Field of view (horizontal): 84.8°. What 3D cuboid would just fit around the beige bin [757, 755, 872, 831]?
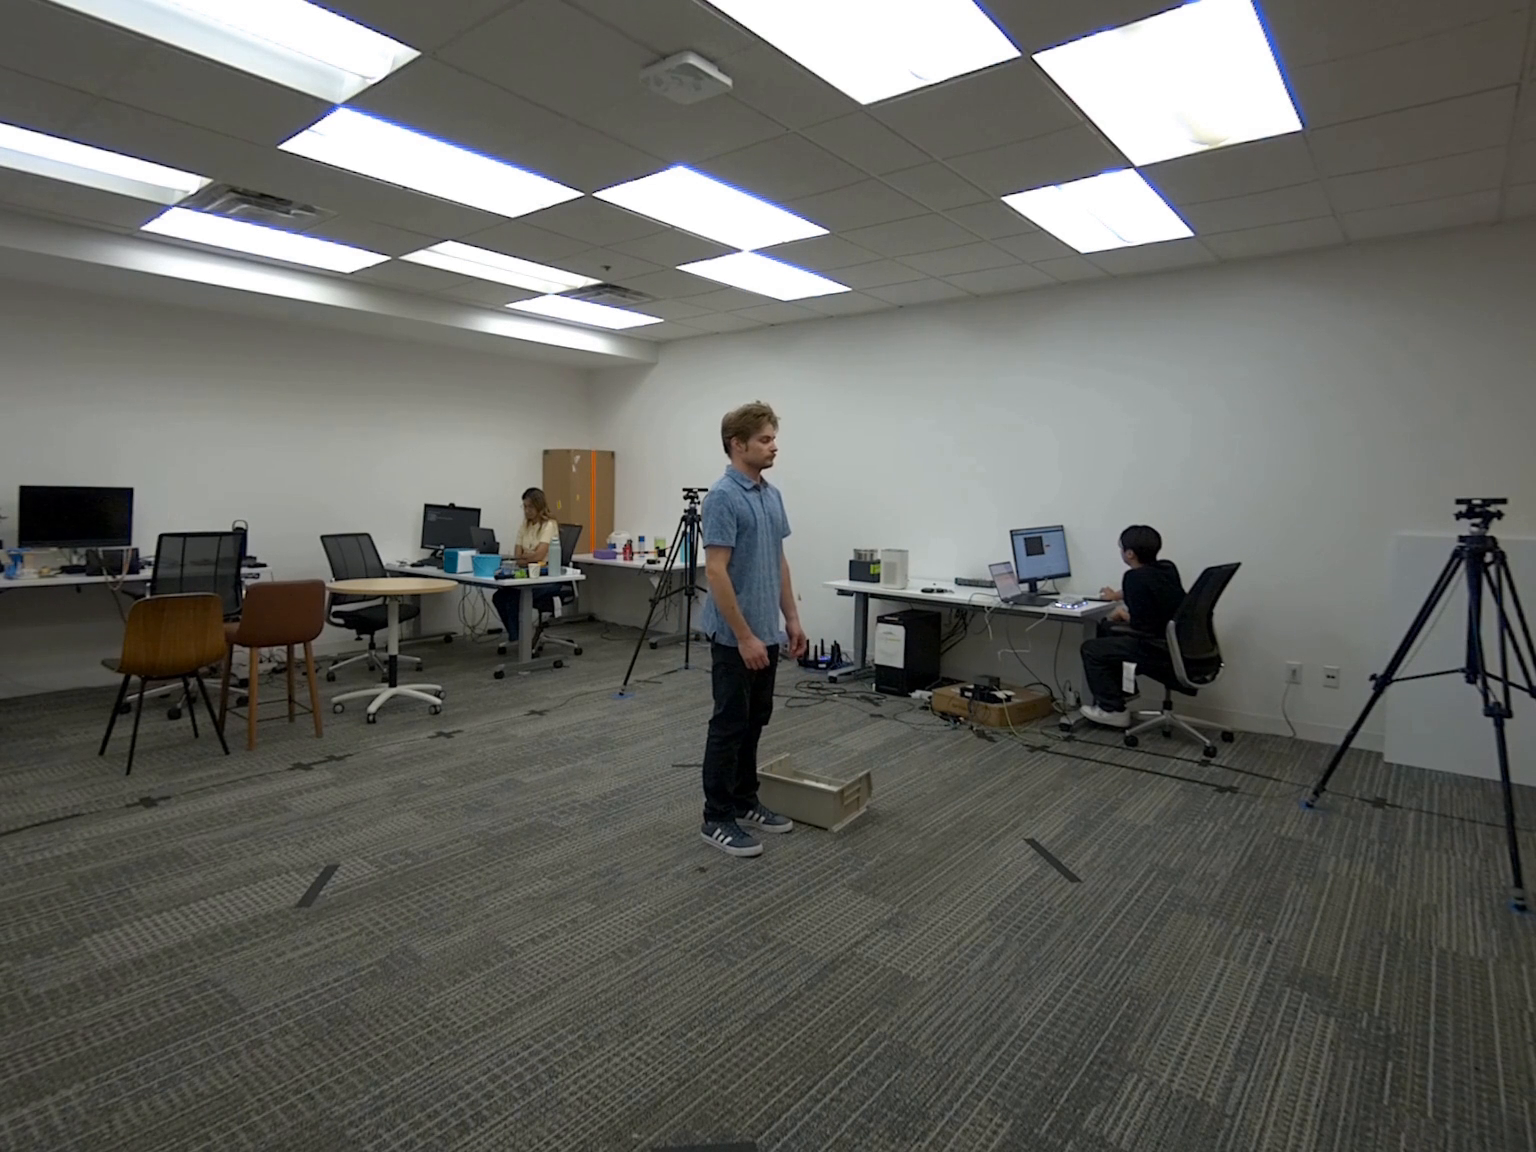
[{"bbox_3d":[0.184,0.926,3.723,0.435,0.188,0.367,4,7,33],"label":"beige bin"}]
